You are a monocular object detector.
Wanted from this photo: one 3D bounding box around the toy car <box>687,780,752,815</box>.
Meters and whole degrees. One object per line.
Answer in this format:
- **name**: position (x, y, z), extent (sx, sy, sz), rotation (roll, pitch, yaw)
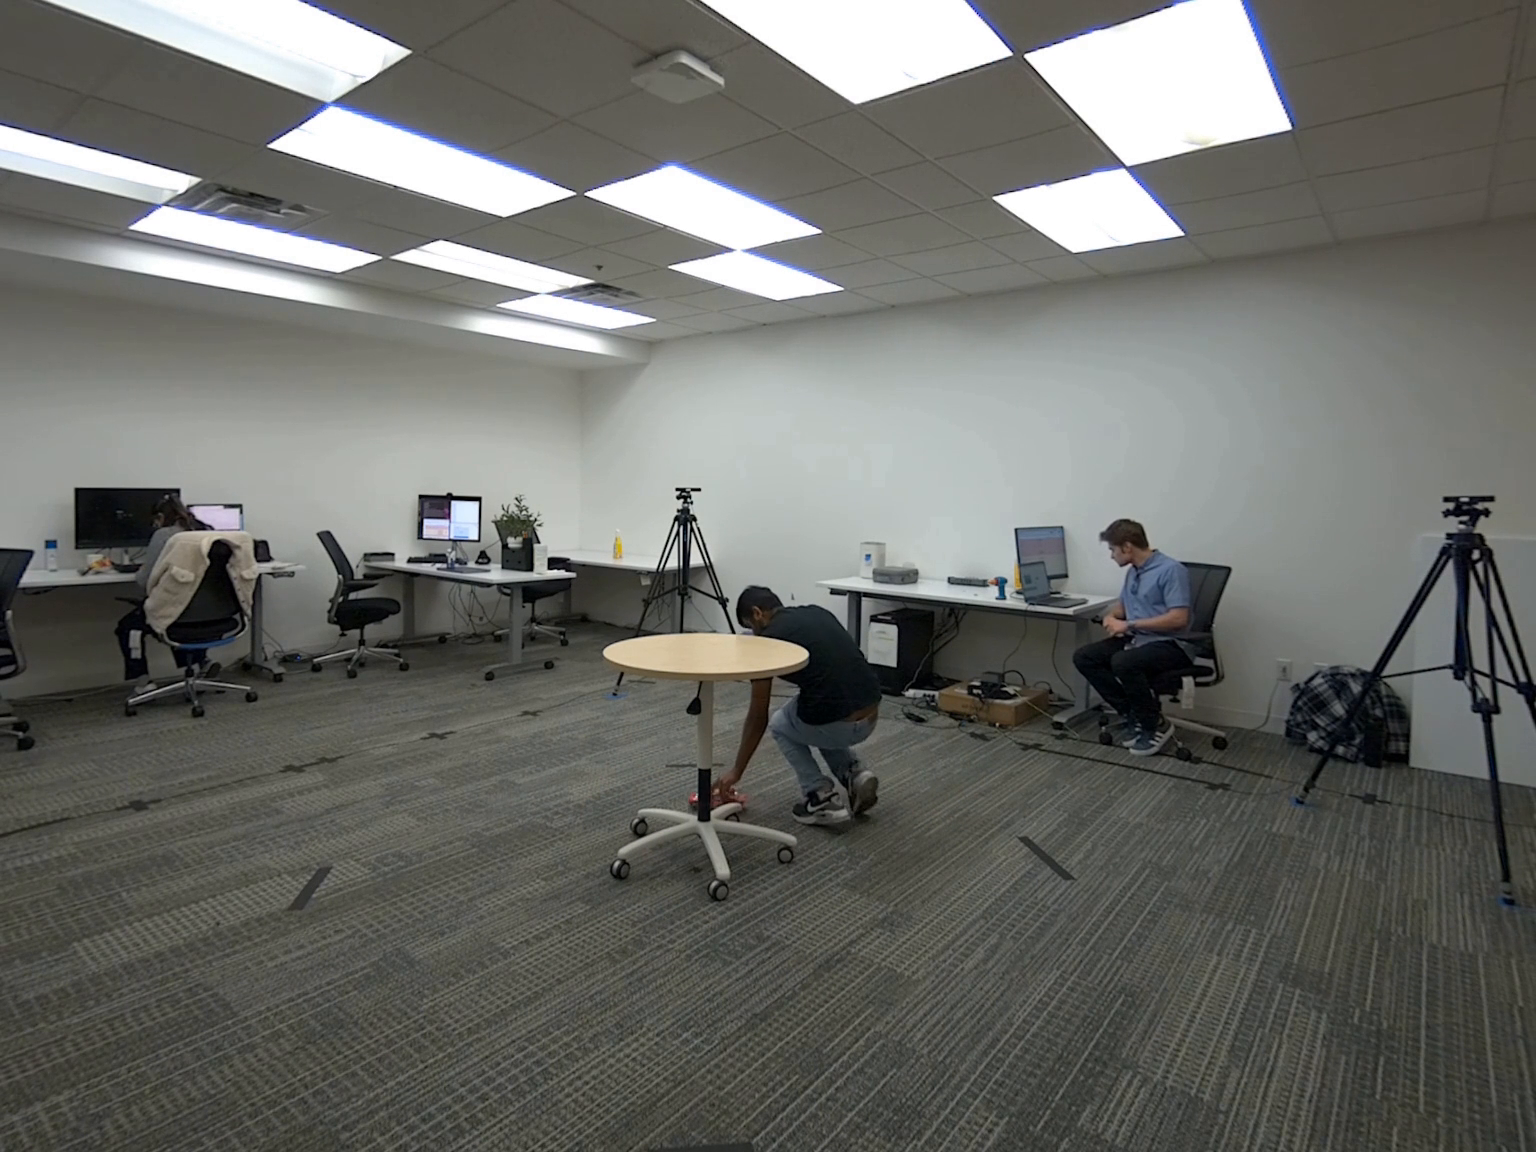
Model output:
- **toy car**: position (-0.215, 0.974, 3.712), extent (0.257, 0.083, 0.129), rotation (-9, 2, 9)
